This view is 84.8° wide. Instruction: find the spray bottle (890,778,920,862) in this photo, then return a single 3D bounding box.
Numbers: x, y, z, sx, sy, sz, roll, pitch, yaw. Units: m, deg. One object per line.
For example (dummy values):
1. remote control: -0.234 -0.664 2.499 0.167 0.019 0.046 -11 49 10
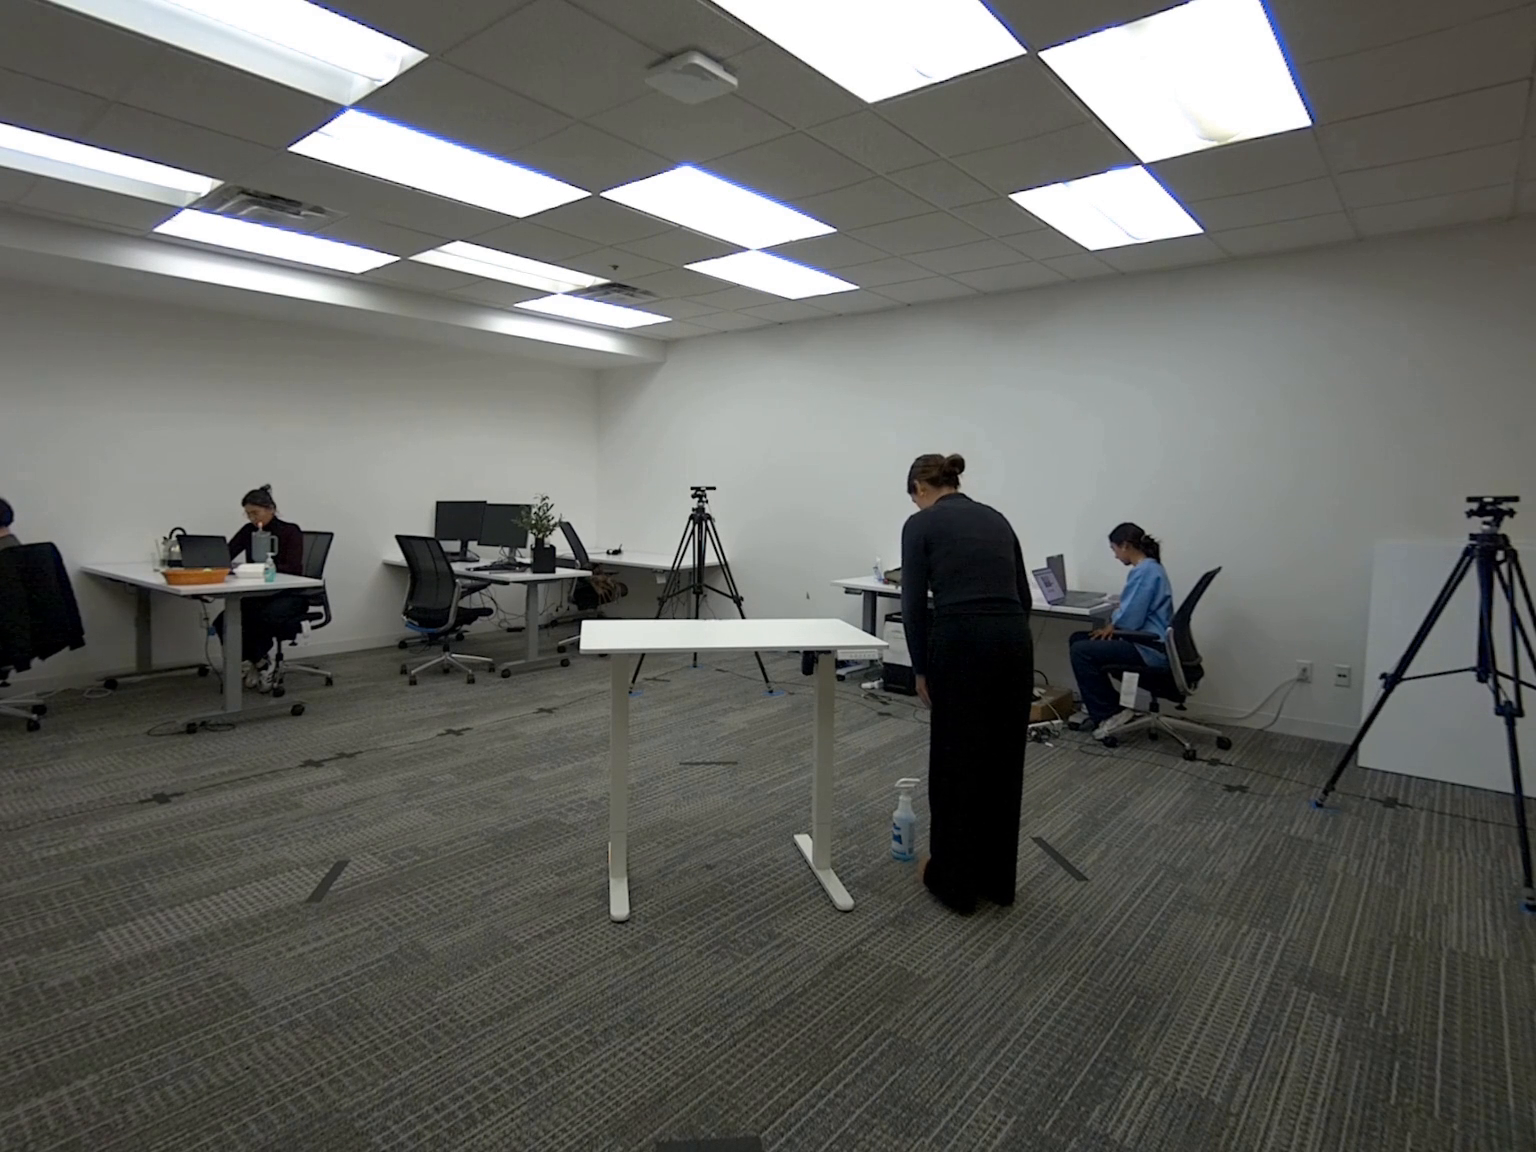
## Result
1. spray bottle: 0.516 0.921 3.247 0.092 0.297 0.085 3 3 25
